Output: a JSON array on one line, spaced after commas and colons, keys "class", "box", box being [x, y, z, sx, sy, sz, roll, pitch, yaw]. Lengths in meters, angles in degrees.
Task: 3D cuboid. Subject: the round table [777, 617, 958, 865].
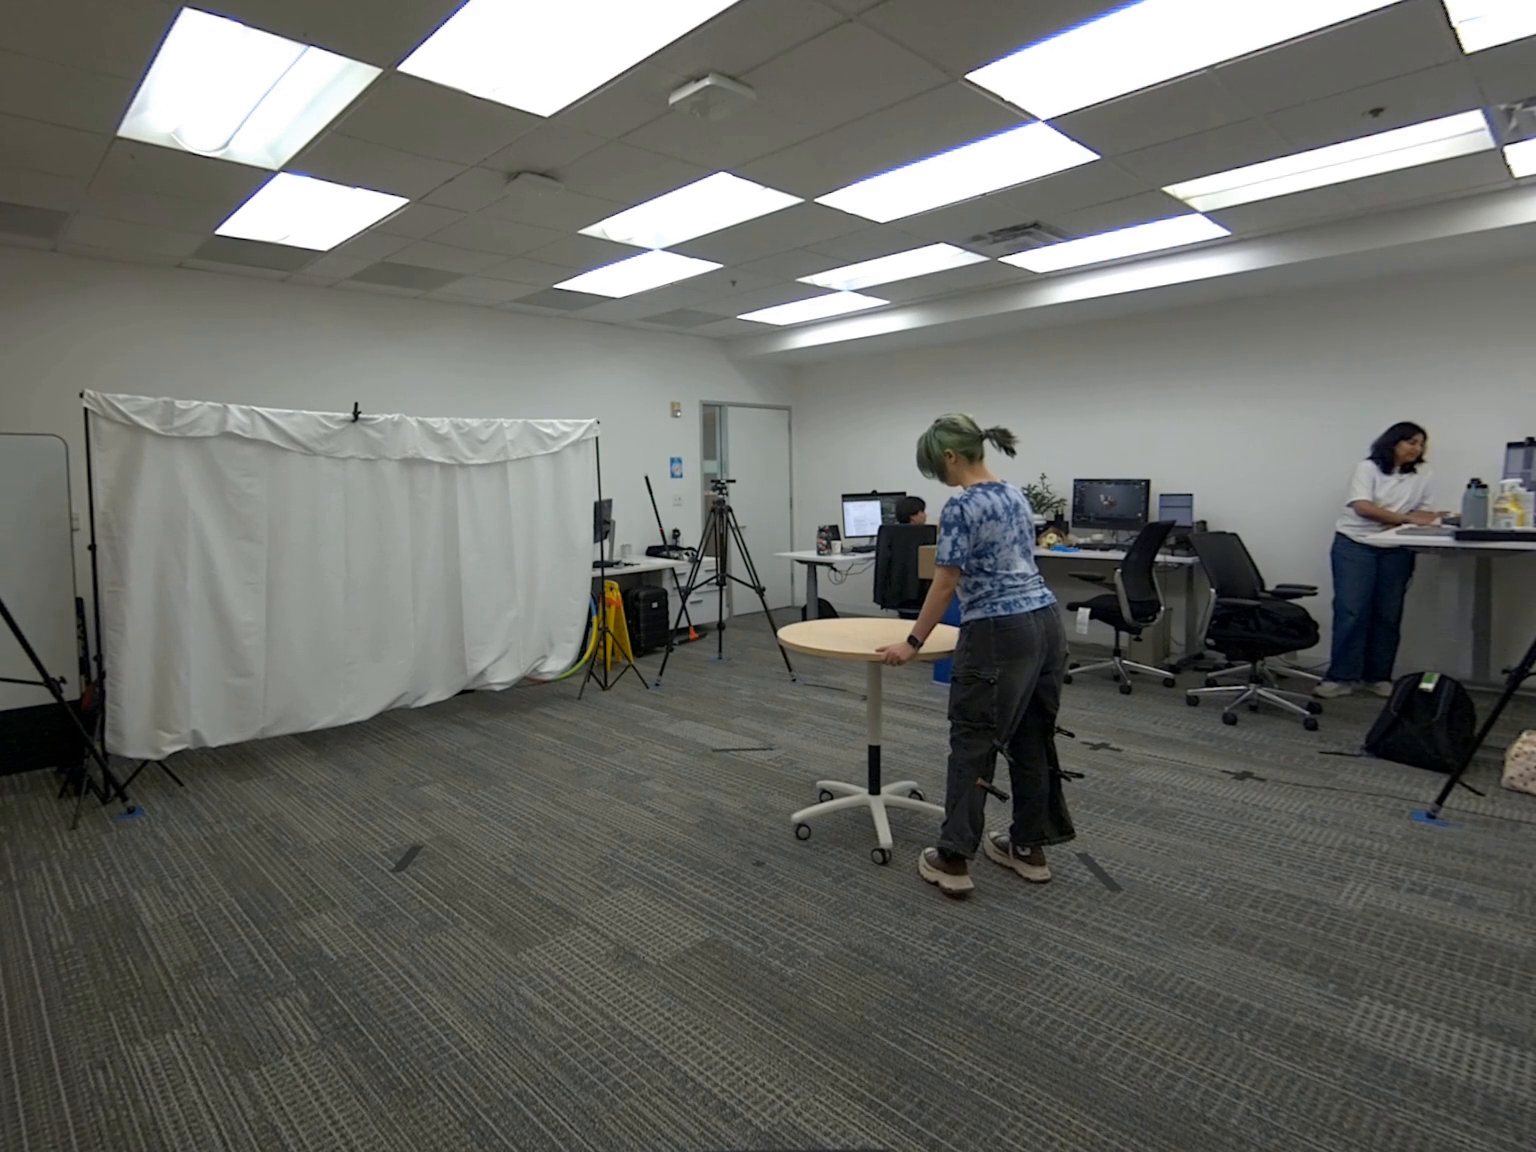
[{"class": "round table", "box": [0.424, 0.620, 3.390, 0.763, 0.791, 0.768, -1, 5, -2]}]
